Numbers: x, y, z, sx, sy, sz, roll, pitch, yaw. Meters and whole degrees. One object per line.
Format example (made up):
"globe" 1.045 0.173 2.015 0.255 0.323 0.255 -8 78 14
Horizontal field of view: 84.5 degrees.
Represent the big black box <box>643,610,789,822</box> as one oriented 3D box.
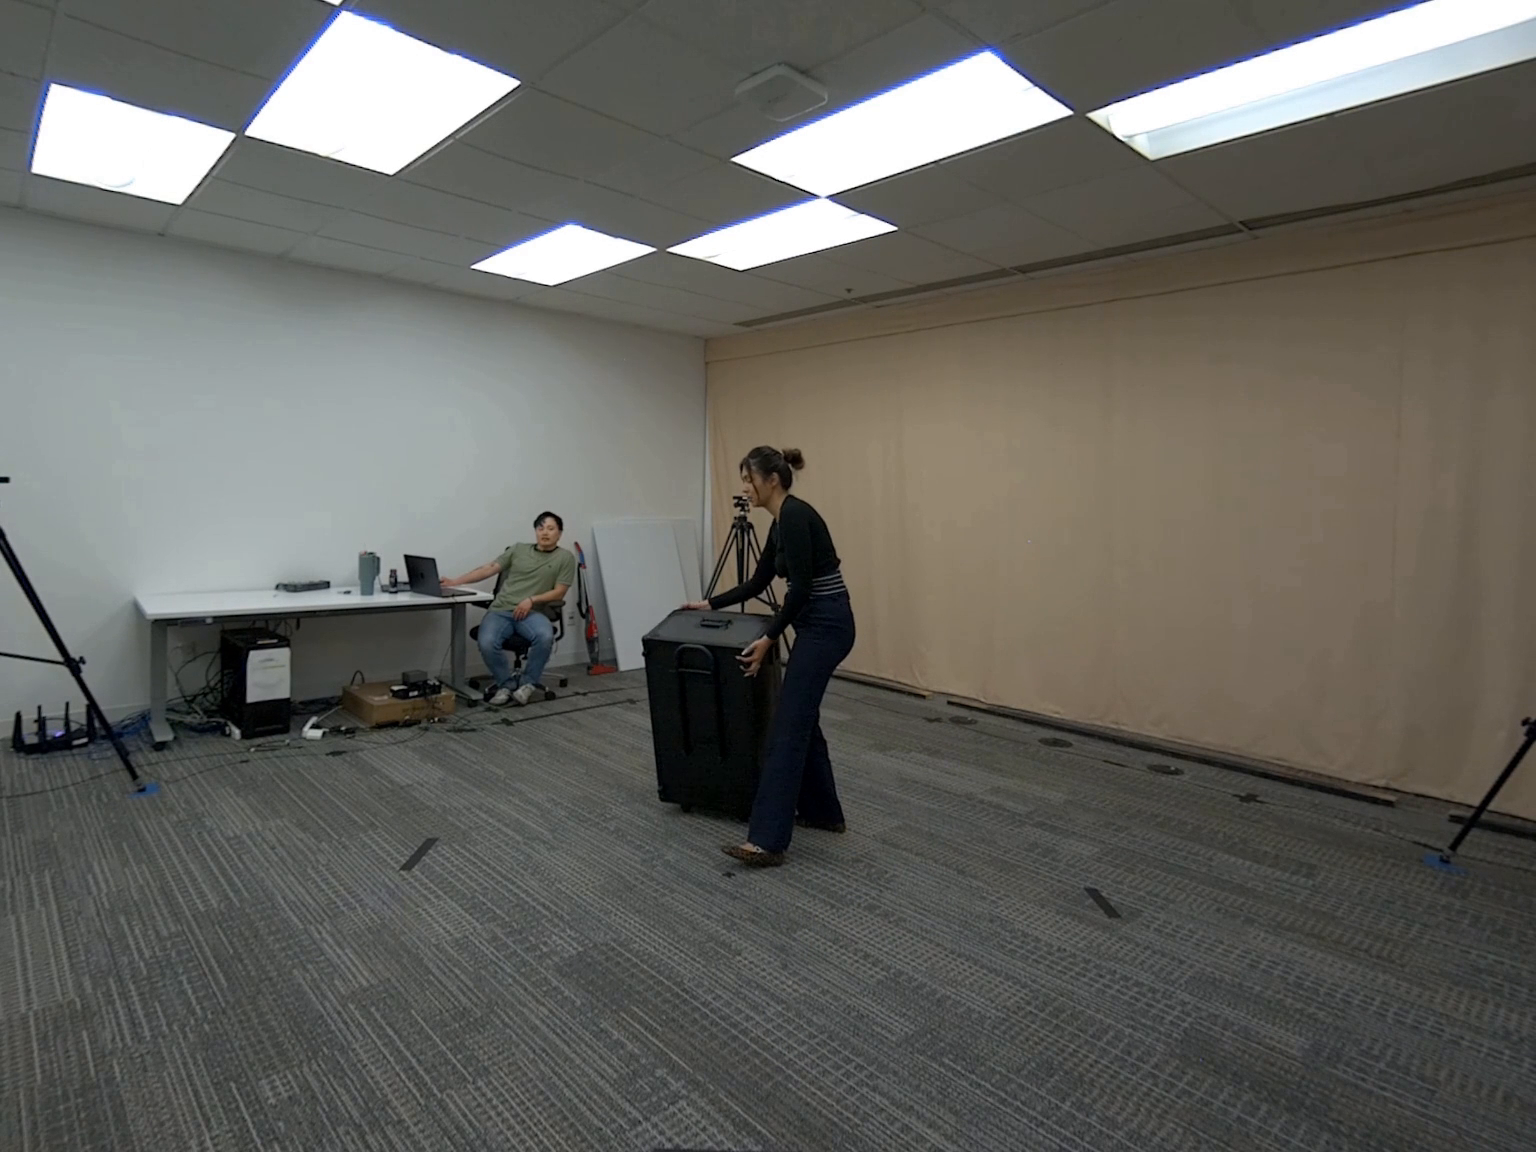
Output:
"big black box" -0.220 0.617 3.644 0.530 0.850 0.395 5 19 21
